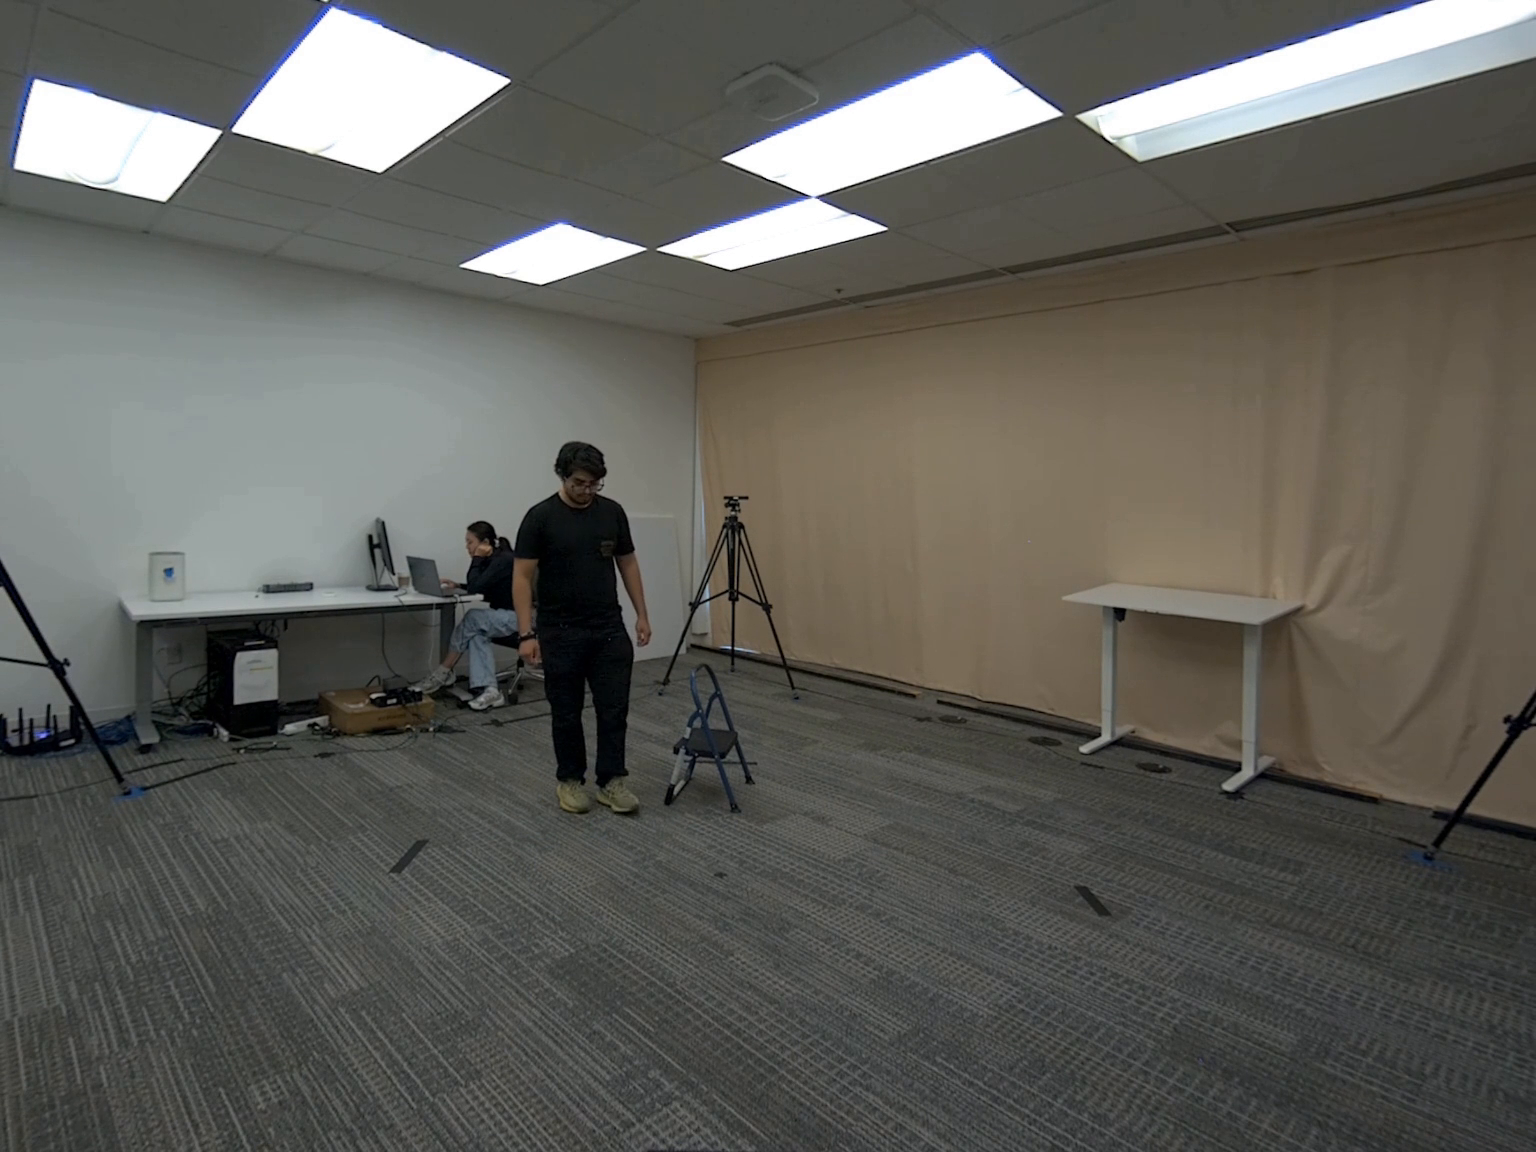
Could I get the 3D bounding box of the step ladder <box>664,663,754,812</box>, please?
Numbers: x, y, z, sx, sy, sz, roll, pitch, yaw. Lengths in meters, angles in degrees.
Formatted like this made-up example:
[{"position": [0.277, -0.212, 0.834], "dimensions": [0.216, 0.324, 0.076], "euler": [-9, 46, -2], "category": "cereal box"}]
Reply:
[{"position": [-0.273, 0.727, 3.961], "dimensions": [0.352, 0.605, 0.428], "euler": [2, 3, 9], "category": "step ladder"}]
